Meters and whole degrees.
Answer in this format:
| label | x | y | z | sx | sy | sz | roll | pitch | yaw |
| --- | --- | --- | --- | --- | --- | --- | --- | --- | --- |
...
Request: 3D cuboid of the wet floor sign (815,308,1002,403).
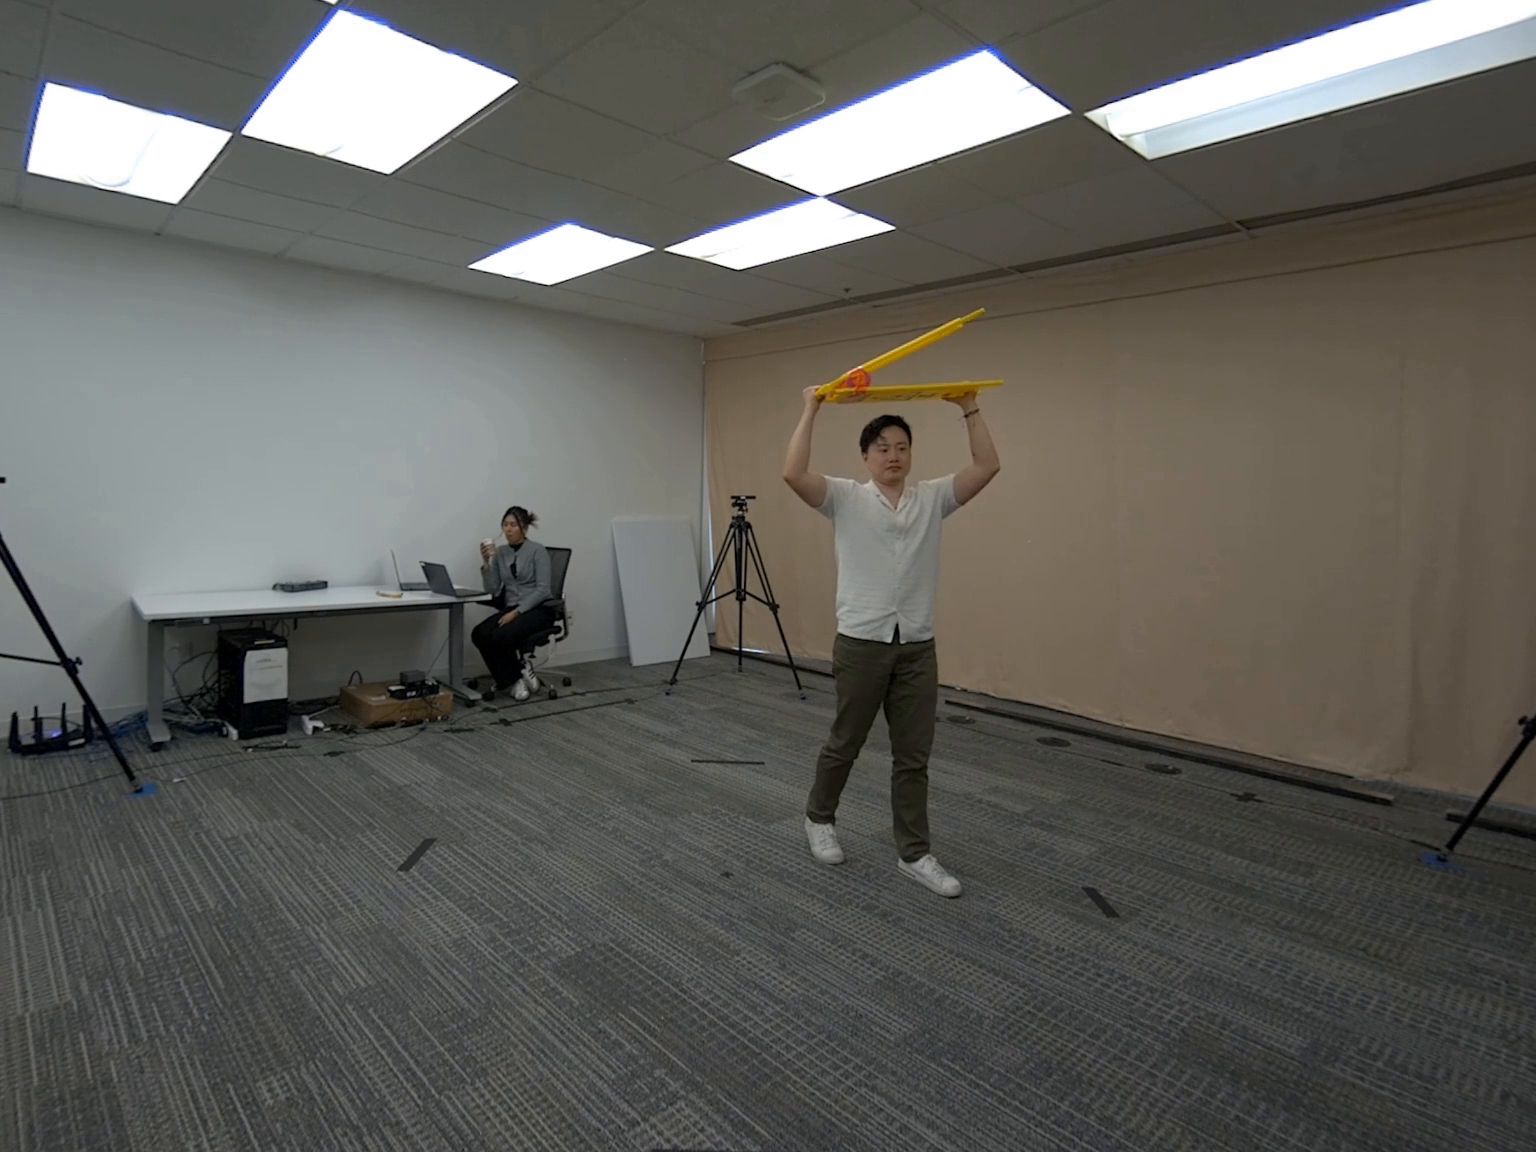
| label | x | y | z | sx | sy | sz | roll | pitch | yaw |
| --- | --- | --- | --- | --- | --- | --- | --- | --- | --- |
| wet floor sign | 0.462 | -0.723 | 3.044 | 0.644 | 0.289 | 0.284 | -15 | 4 | -5 |
